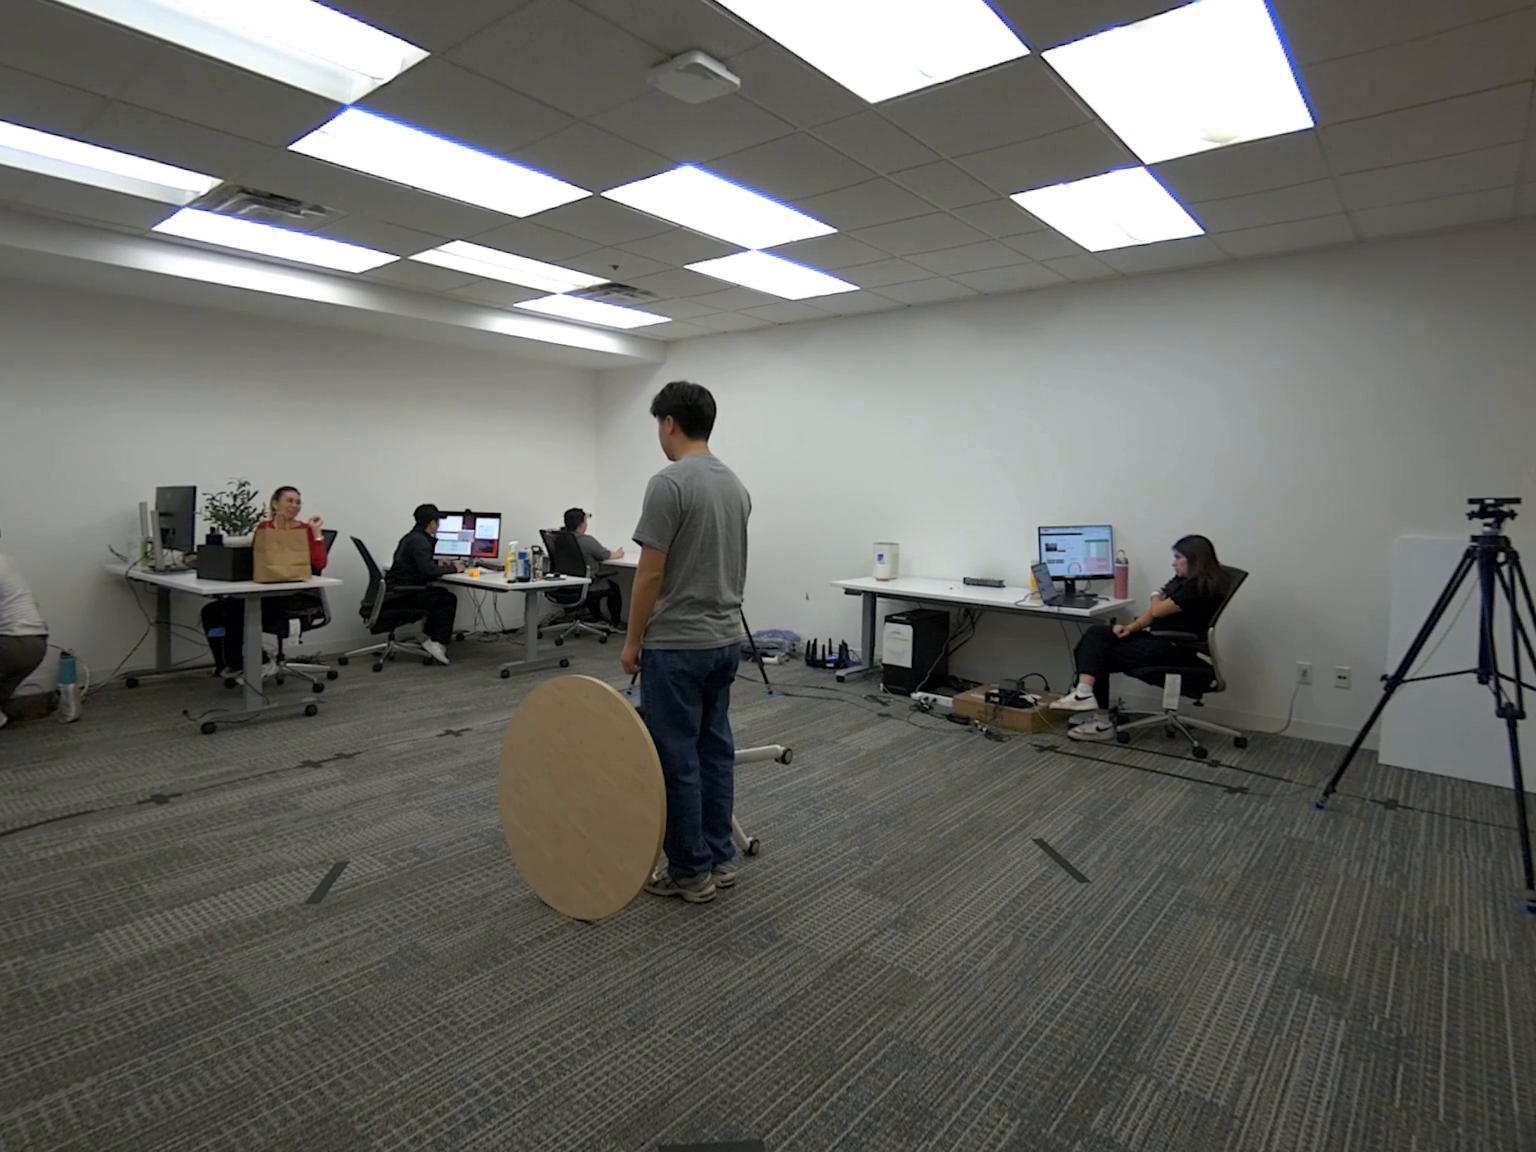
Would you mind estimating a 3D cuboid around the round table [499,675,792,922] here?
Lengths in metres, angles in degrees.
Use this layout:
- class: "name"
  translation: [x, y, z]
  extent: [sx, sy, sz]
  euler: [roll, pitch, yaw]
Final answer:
- class: "round table"
  translation: [-0.432, 0.724, 3.084]
  extent: [0.789, 0.765, 0.768]
  euler: [4, -1, 36]
